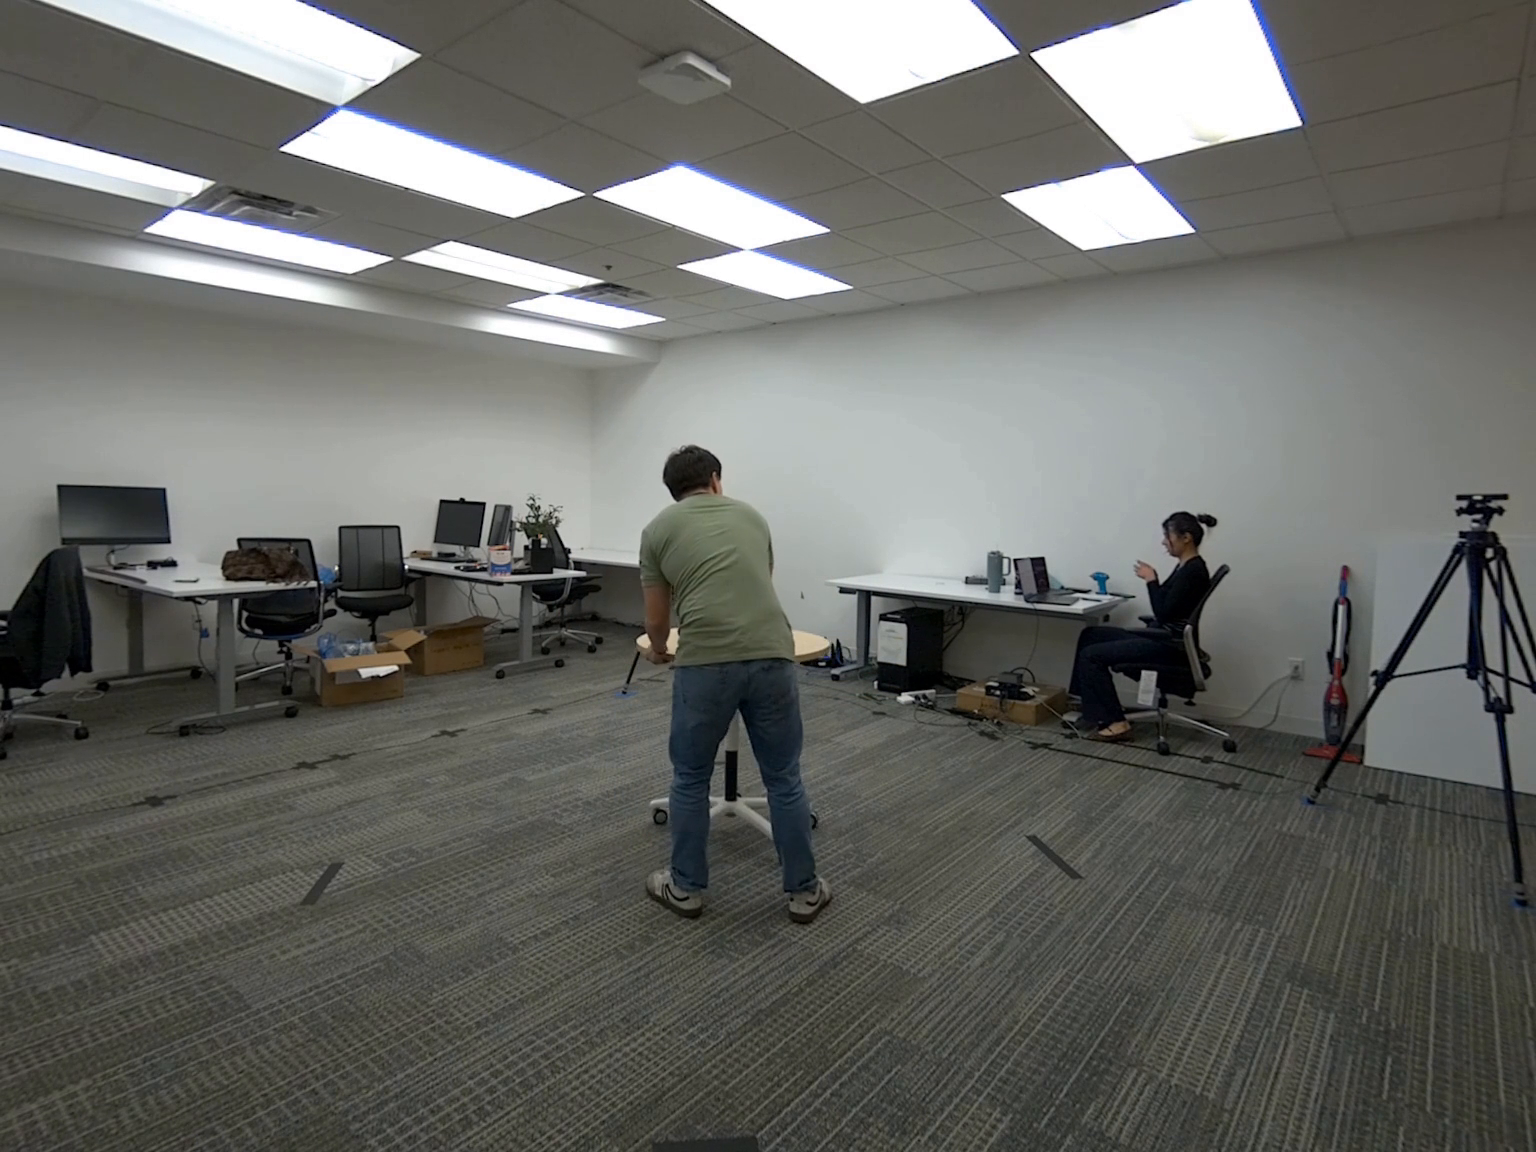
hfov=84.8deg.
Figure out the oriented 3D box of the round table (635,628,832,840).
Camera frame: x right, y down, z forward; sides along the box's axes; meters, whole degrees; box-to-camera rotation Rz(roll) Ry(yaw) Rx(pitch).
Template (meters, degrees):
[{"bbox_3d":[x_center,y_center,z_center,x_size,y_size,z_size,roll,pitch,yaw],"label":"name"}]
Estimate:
[{"bbox_3d":[-0.154,0.647,3.401,0.763,0.792,0.767,1,4,-2],"label":"round table"}]
